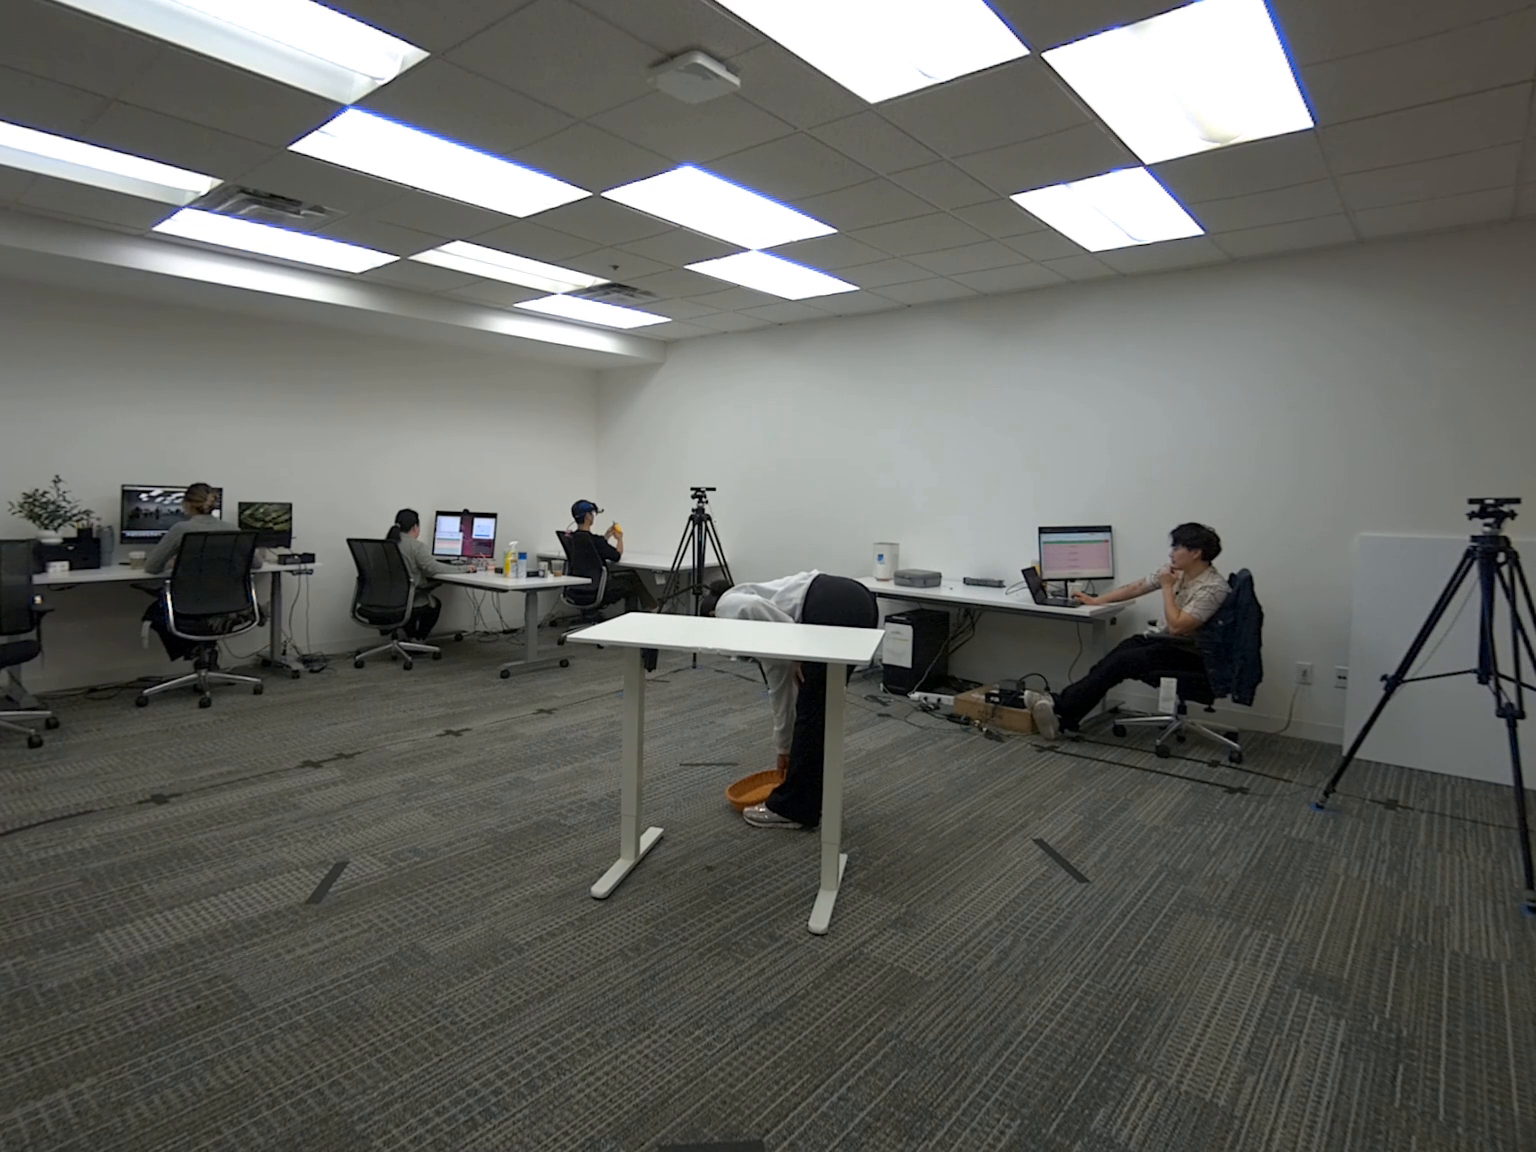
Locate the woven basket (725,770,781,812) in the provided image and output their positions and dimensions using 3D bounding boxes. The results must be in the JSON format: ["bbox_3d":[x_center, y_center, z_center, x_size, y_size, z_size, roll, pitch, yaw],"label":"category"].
[{"bbox_3d":[-0.042,0.935,3.757,0.343,0.073,0.260,-16,11,-34],"label":"woven basket"}]
